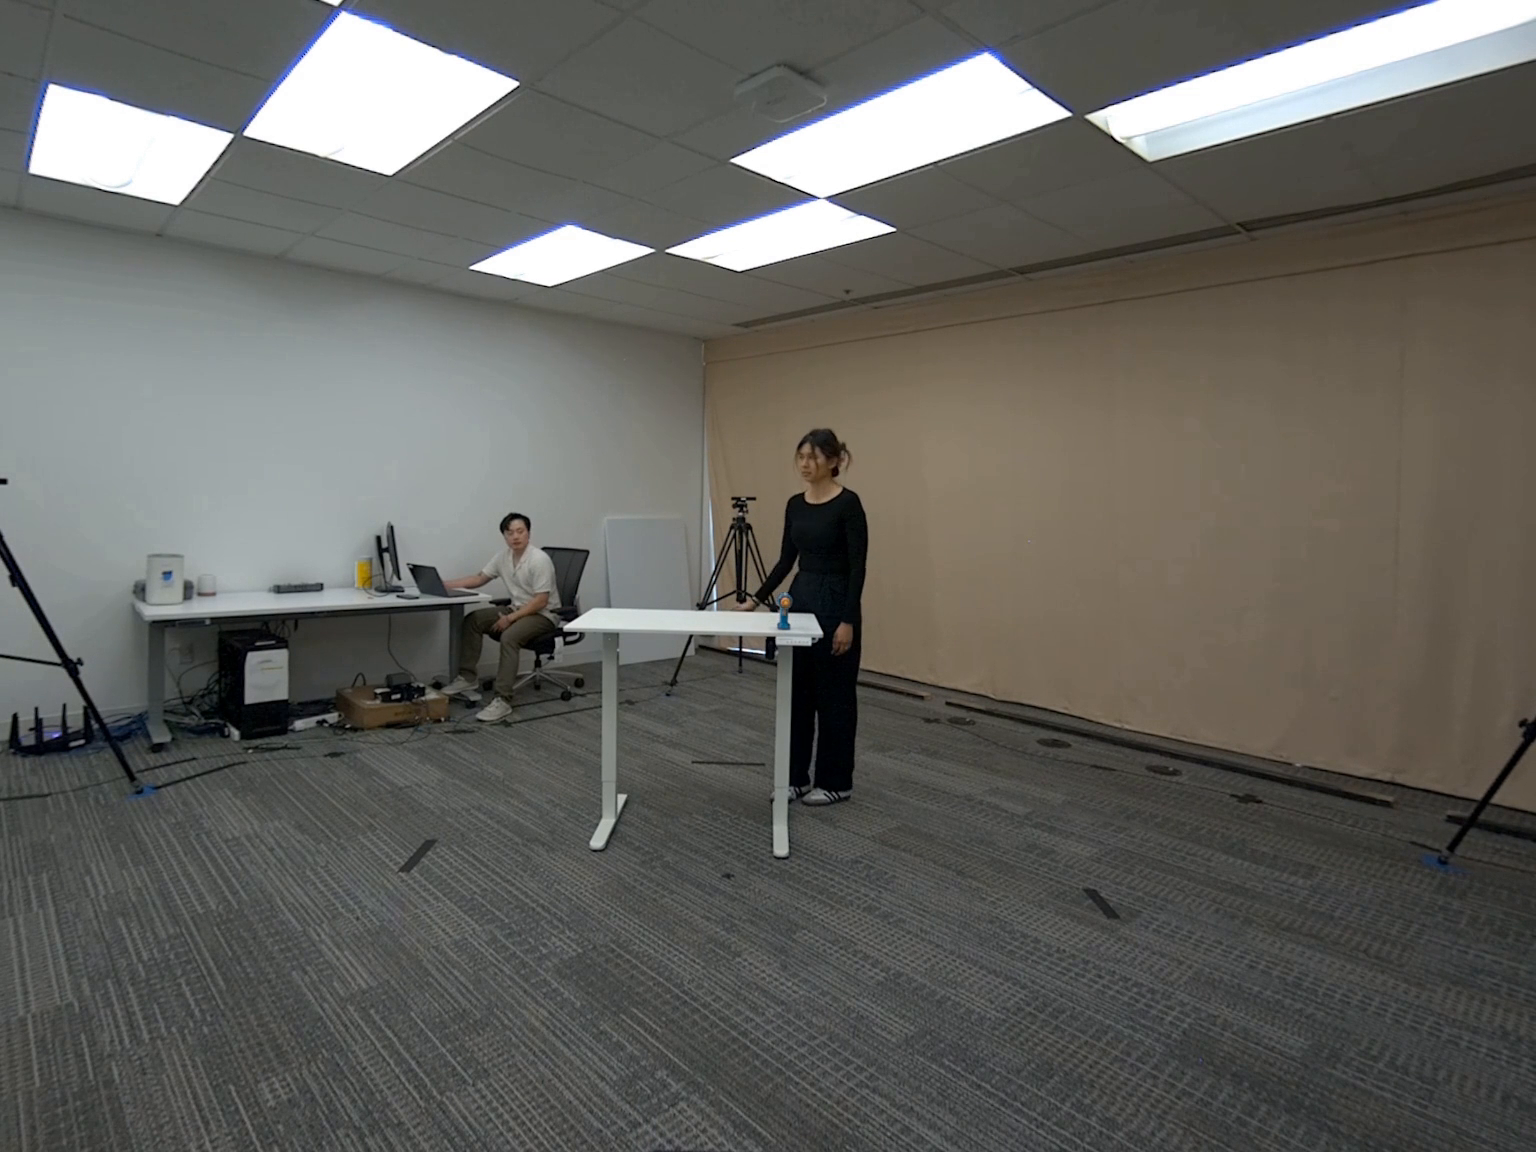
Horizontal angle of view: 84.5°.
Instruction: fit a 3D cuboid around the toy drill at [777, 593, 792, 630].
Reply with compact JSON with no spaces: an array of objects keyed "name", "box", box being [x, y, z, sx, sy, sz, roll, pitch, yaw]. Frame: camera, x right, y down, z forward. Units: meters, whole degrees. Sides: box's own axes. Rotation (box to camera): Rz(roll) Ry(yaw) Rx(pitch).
[{"name":"toy drill","box":[0.058,0.141,3.275,0.061,0.146,0.170,0,4,0]}]
